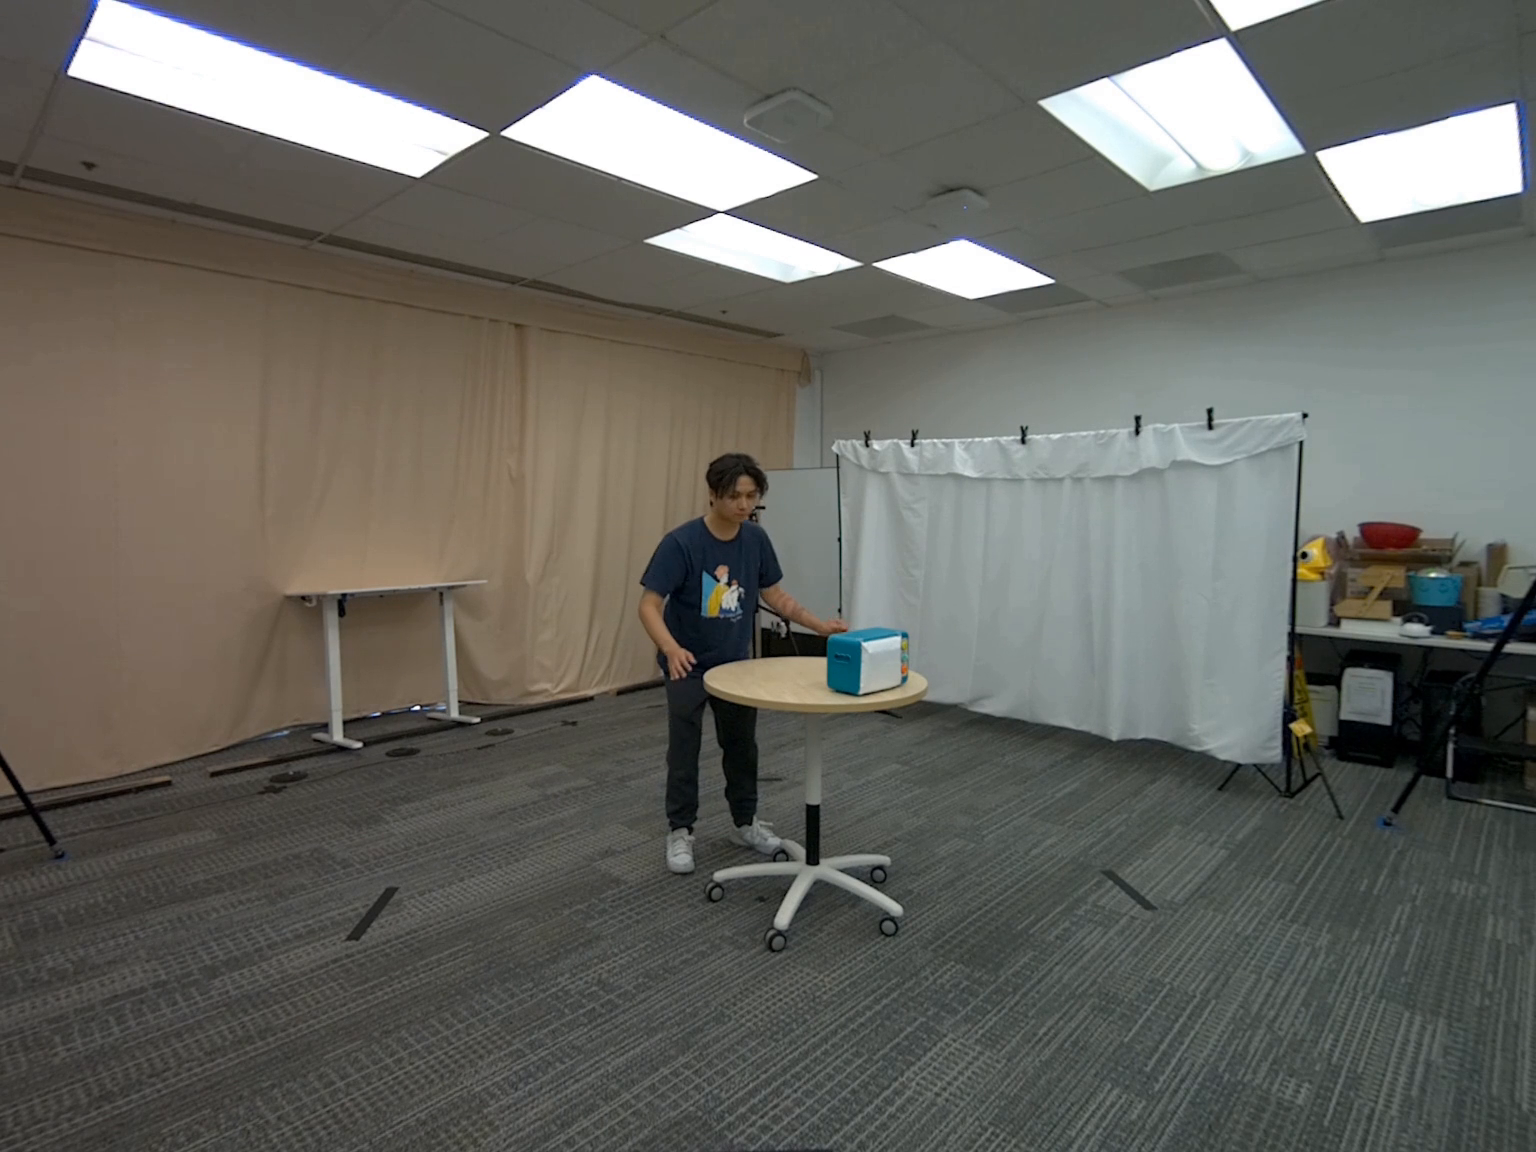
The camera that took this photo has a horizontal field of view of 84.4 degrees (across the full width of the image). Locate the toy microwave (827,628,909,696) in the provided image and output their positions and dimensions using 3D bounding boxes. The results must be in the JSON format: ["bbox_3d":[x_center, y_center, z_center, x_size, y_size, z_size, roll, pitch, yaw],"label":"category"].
[{"bbox_3d":[0.339,0.277,2.734,0.277,0.184,0.157,-3,5,-40],"label":"toy microwave"}]
